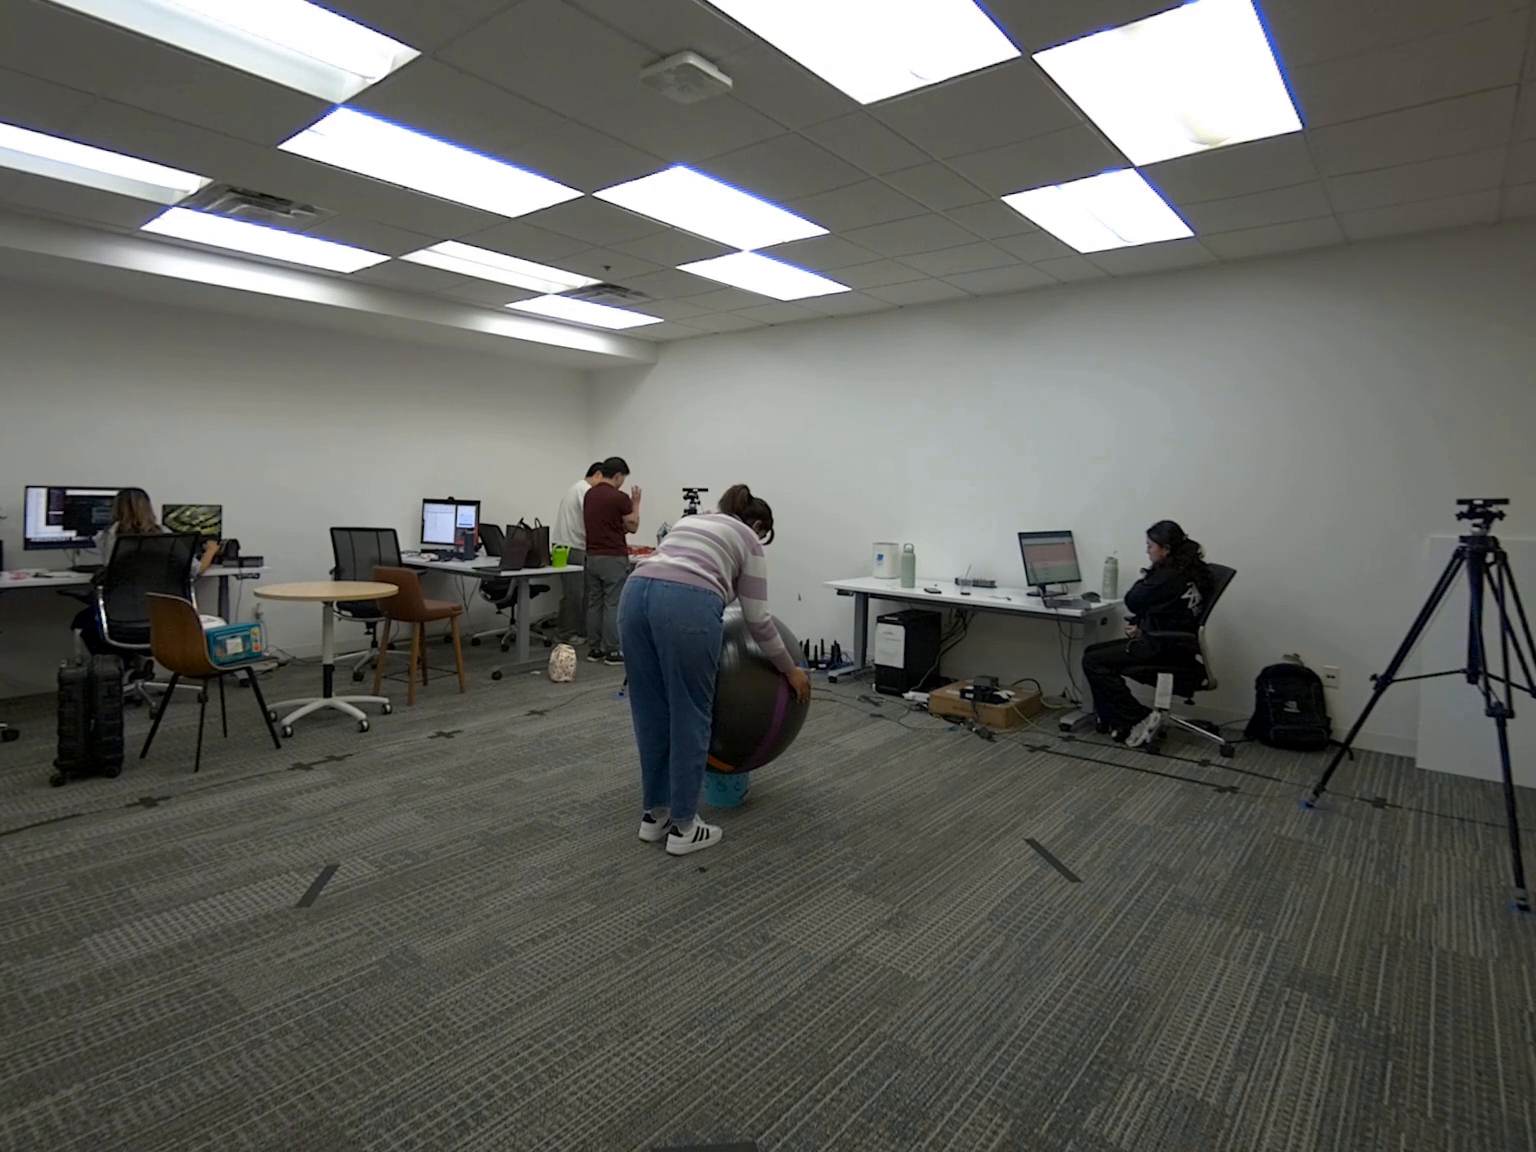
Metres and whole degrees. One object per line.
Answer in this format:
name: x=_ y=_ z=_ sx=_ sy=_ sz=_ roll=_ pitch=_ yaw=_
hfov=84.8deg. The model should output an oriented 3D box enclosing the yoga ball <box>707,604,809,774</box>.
yoga ball: x=-0.190 y=0.490 z=3.812 sx=0.757 sy=0.756 sz=0.761 roll=1 pitch=4 yaw=-2
